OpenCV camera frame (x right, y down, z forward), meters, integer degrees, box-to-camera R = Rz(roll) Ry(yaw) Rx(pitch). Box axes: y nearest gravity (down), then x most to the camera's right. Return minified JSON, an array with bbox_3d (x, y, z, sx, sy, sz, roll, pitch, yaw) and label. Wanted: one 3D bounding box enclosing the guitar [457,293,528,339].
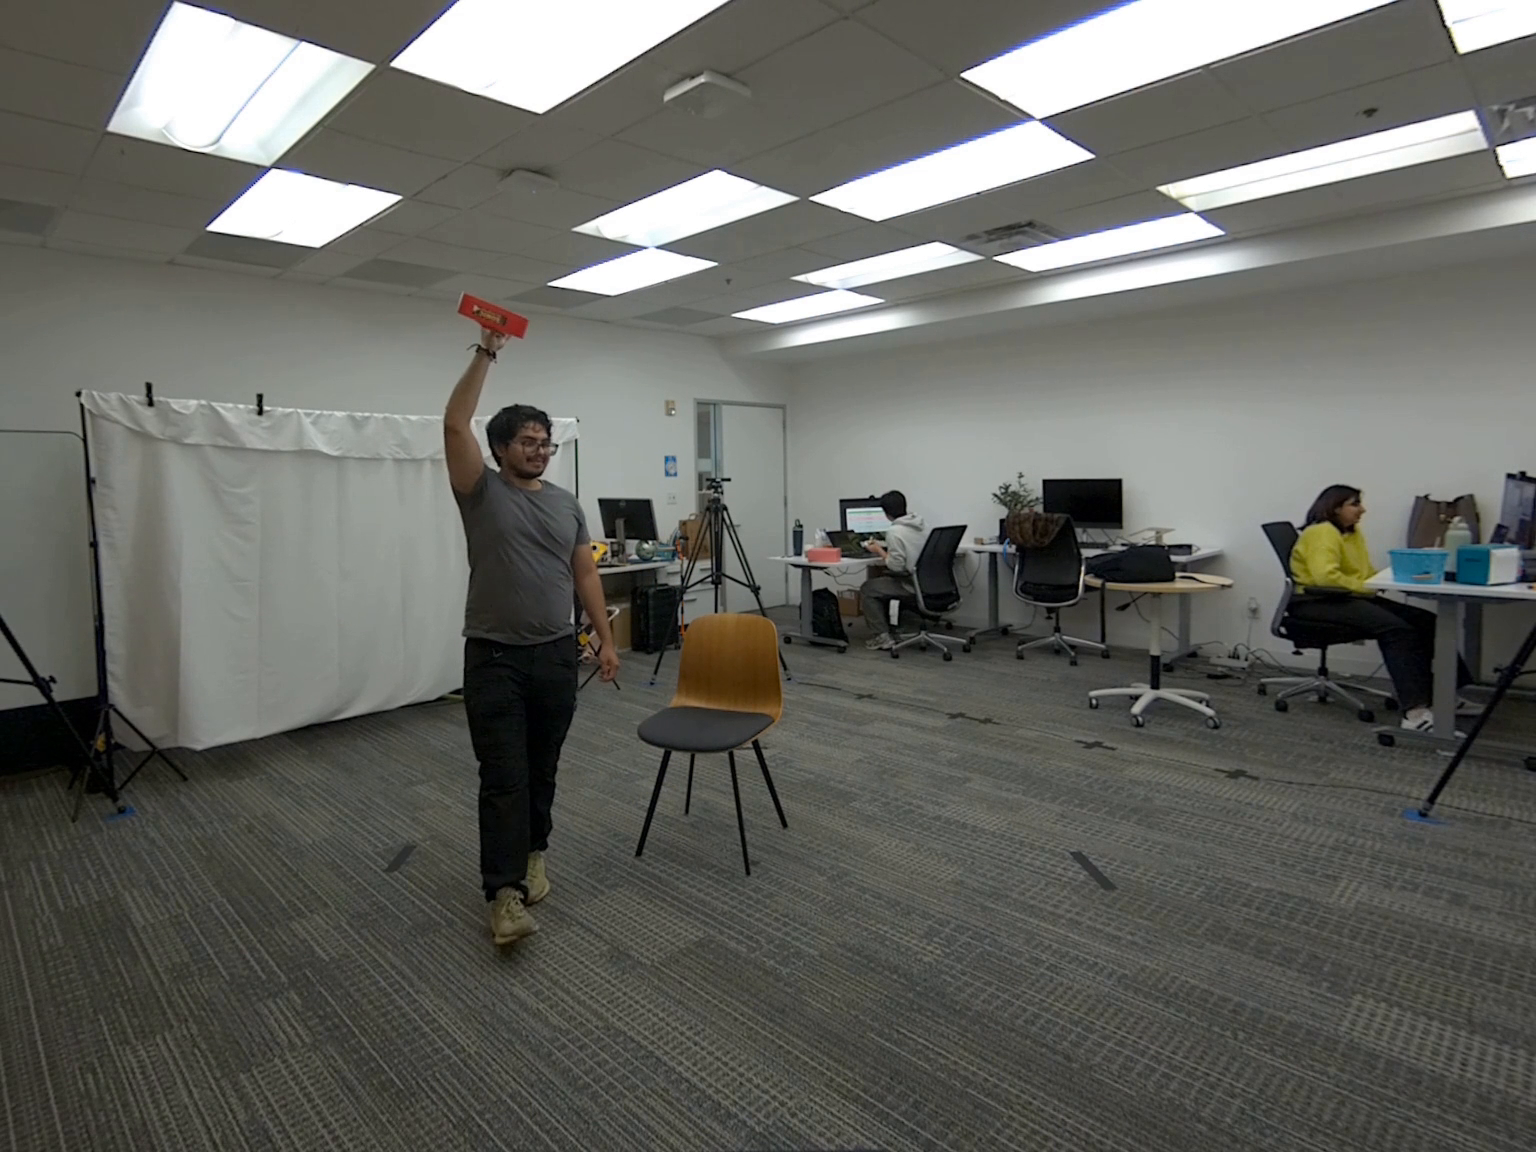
[{"bbox_3d":[-0.841,-0.778,2.568,0.188,0.070,0.513,17,9,-24],"label":"guitar"}]
